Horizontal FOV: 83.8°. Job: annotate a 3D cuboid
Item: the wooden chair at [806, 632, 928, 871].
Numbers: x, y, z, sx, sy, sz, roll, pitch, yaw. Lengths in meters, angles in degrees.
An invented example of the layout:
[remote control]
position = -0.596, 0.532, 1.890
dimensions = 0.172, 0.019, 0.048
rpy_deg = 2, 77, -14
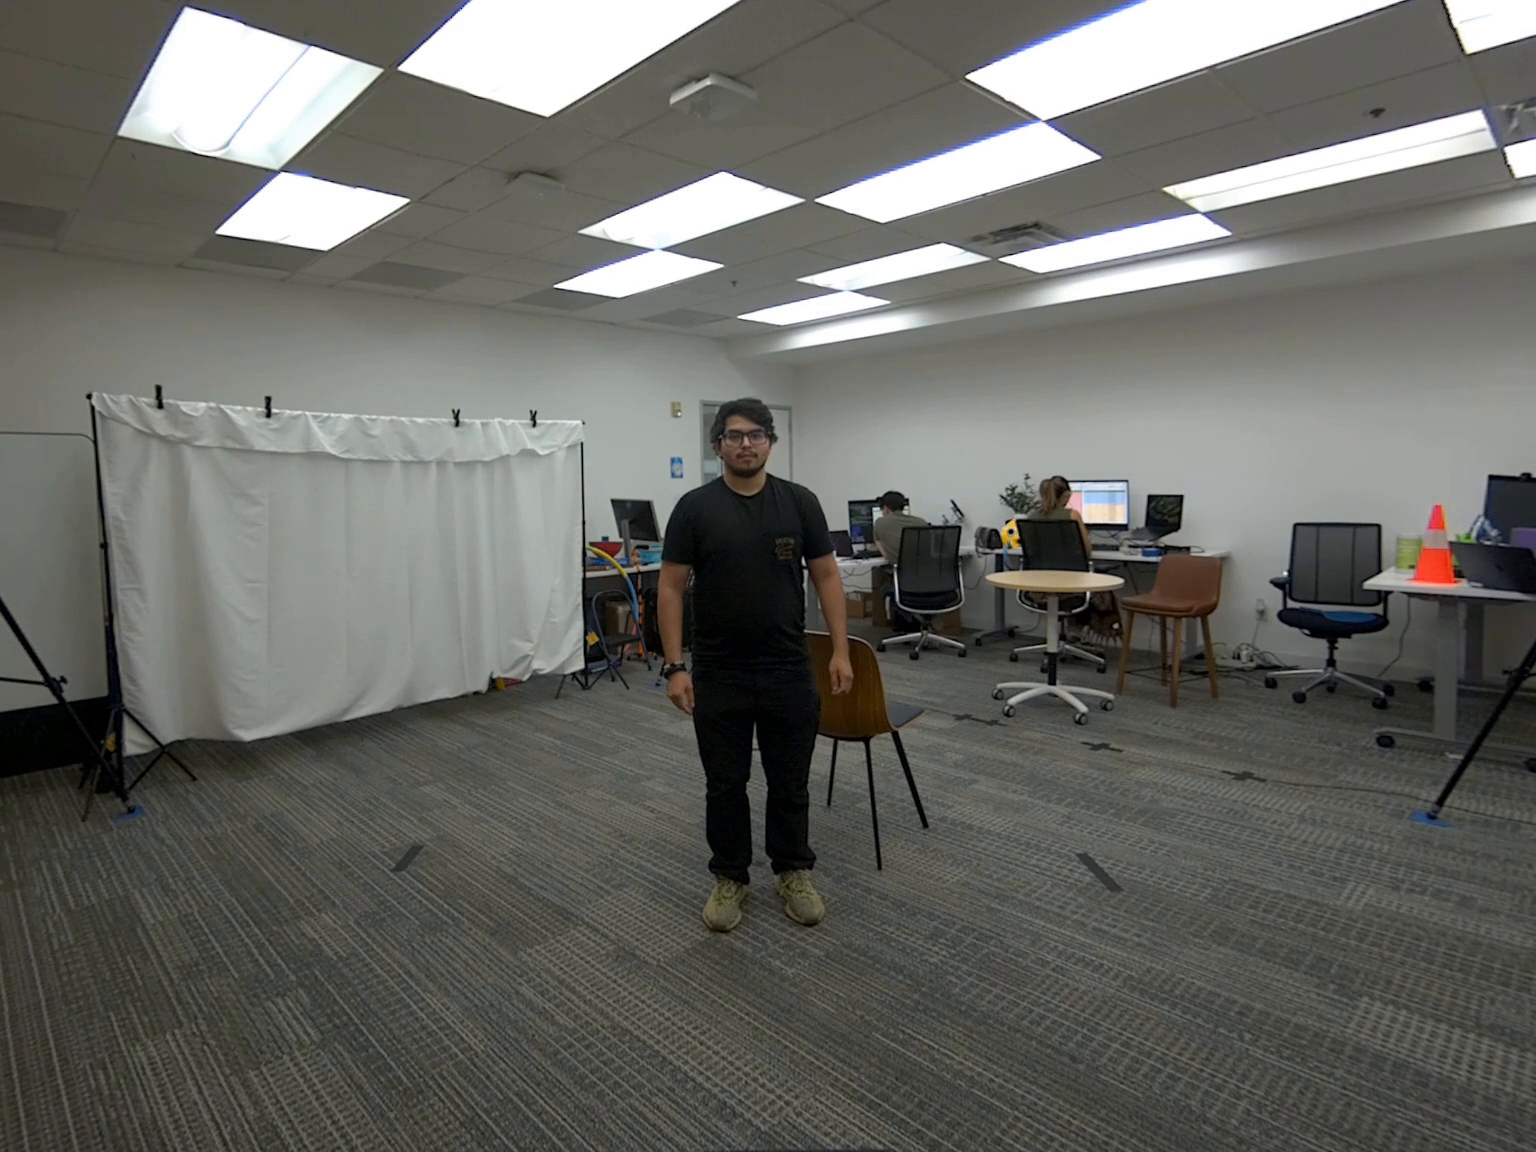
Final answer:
[wooden chair]
position = 0.325, 0.590, 3.327
dimensions = 0.491, 0.871, 0.512
rpy_deg = 1, 9, 34
